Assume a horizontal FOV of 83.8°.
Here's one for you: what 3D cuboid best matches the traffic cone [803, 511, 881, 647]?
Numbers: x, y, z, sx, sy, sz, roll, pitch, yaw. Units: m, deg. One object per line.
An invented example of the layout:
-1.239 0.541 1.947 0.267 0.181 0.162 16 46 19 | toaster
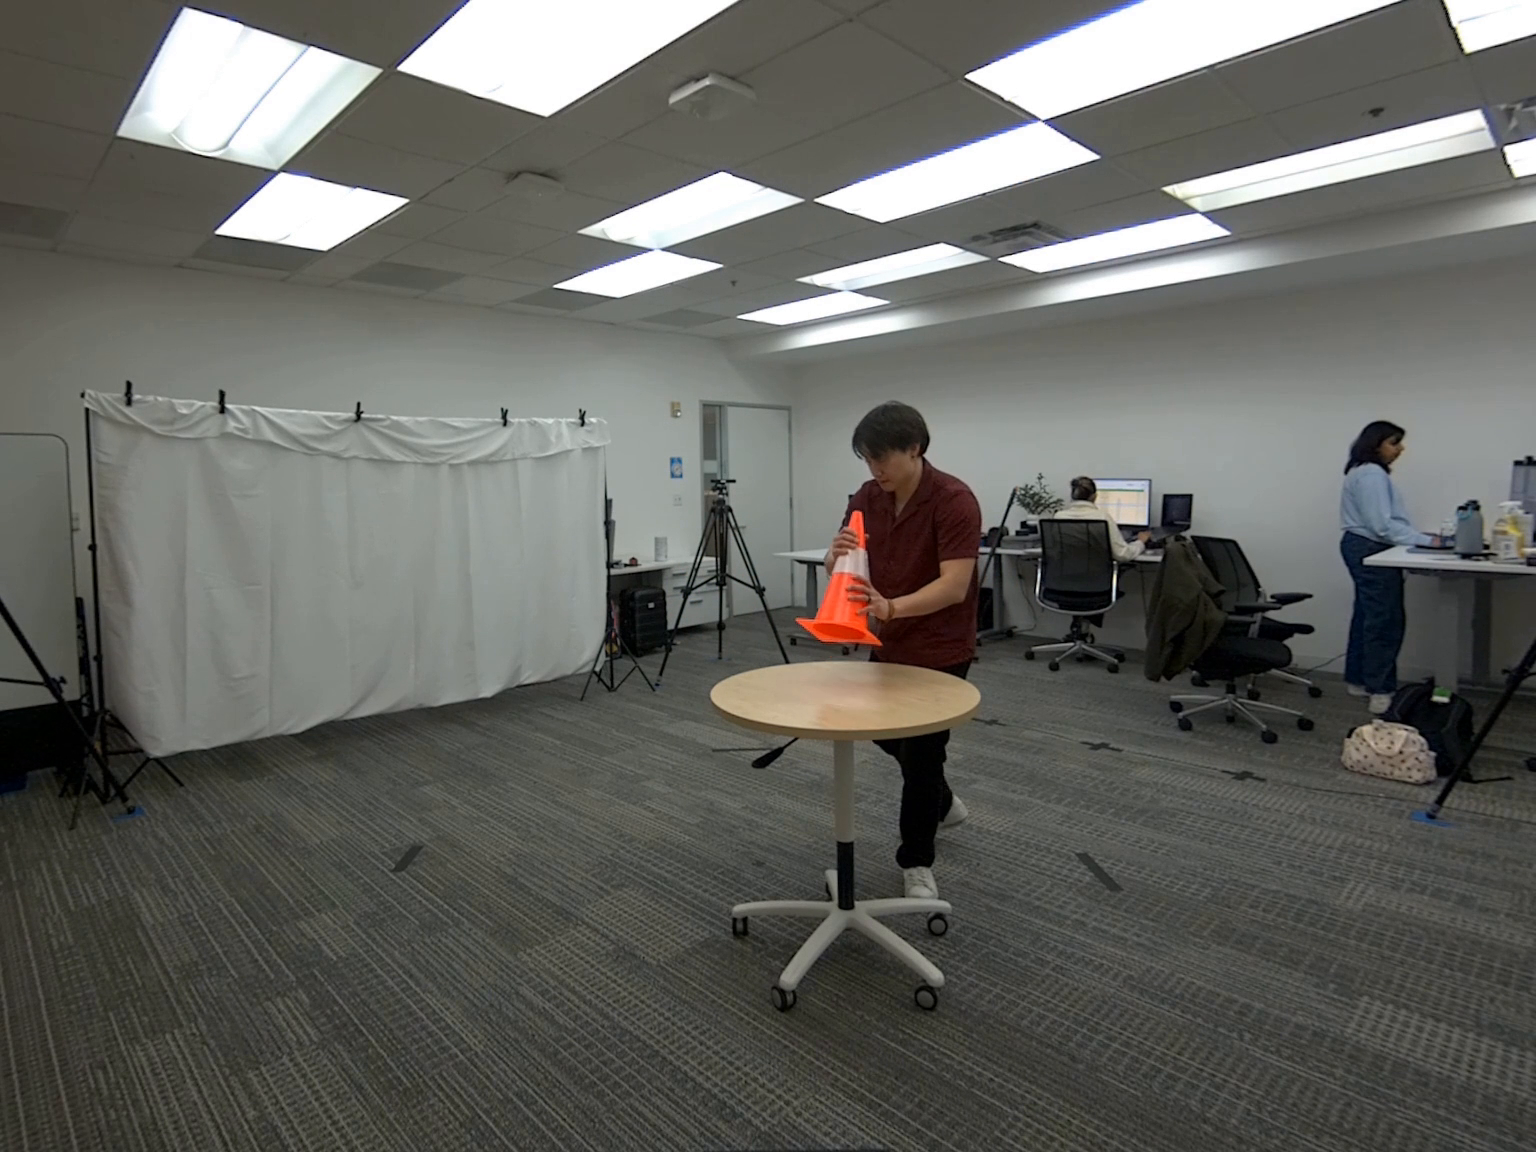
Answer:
0.249 -0.008 2.527 0.205 0.389 0.200 5 -20 7 | traffic cone
